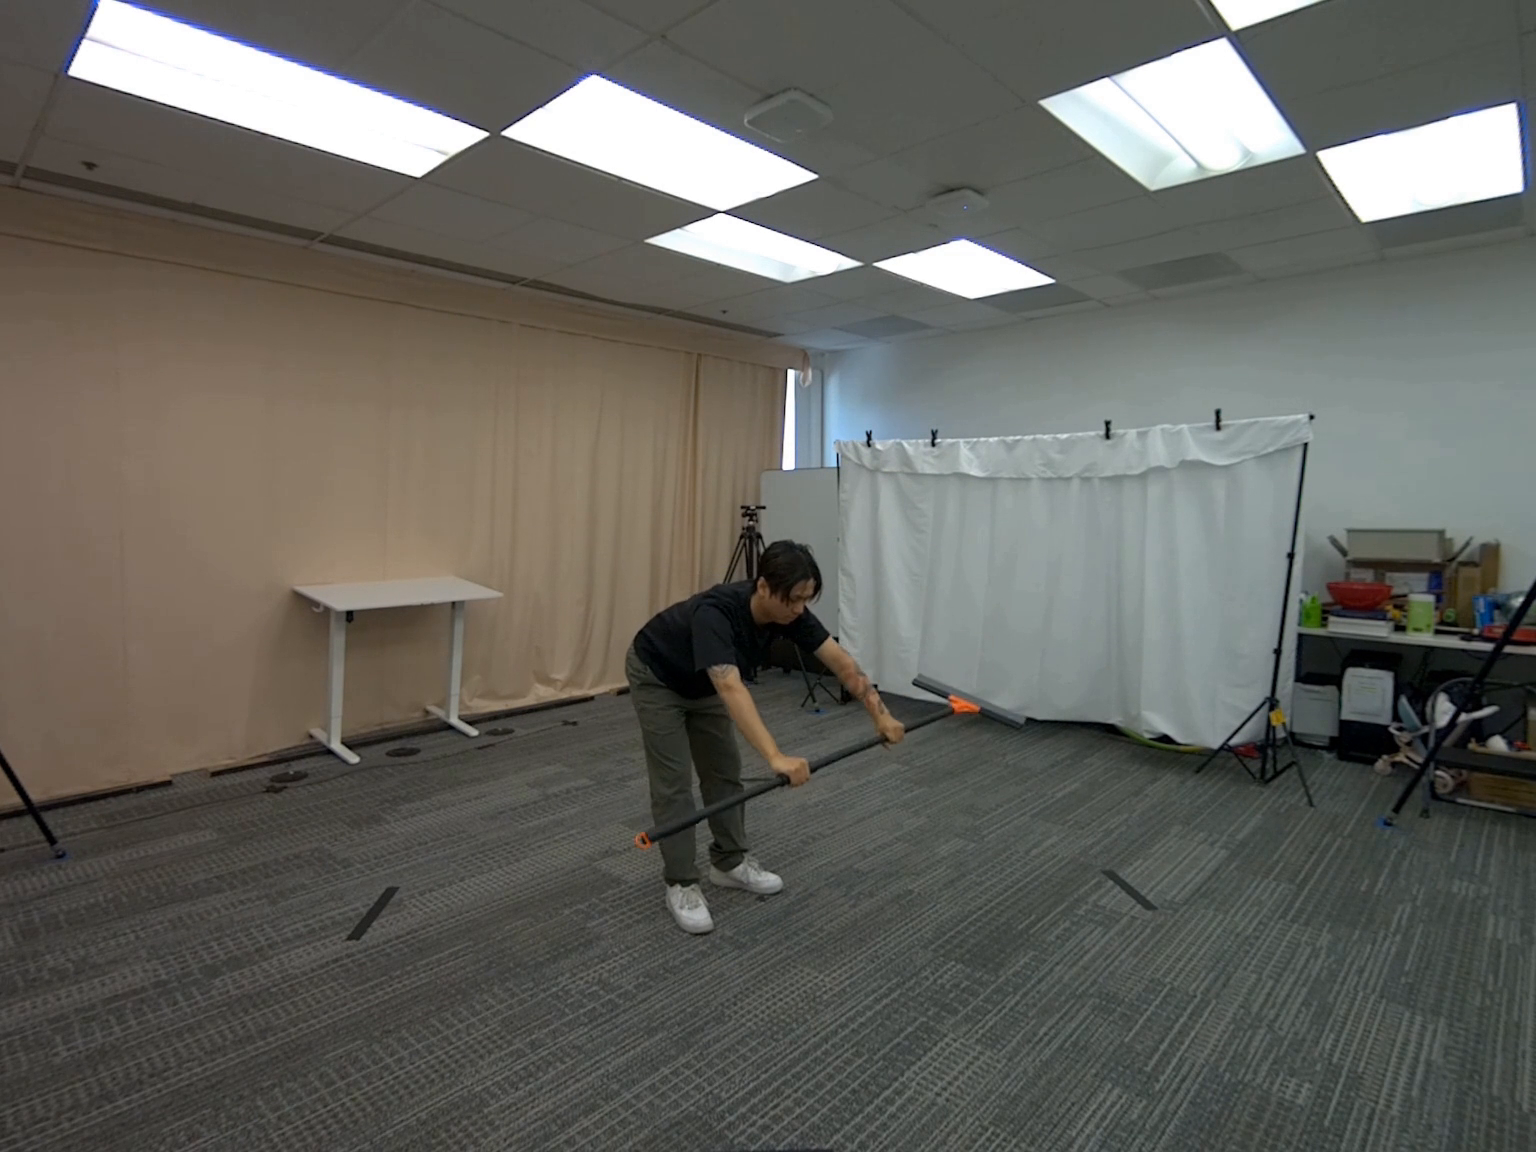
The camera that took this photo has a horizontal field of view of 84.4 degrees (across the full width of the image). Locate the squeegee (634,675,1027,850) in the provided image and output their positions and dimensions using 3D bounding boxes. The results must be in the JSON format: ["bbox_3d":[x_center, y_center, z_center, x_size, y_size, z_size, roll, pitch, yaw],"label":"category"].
[{"bbox_3d":[0.209,0.547,2.494,1.493,0.052,0.454,-10,21,-43],"label":"squeegee"}]
